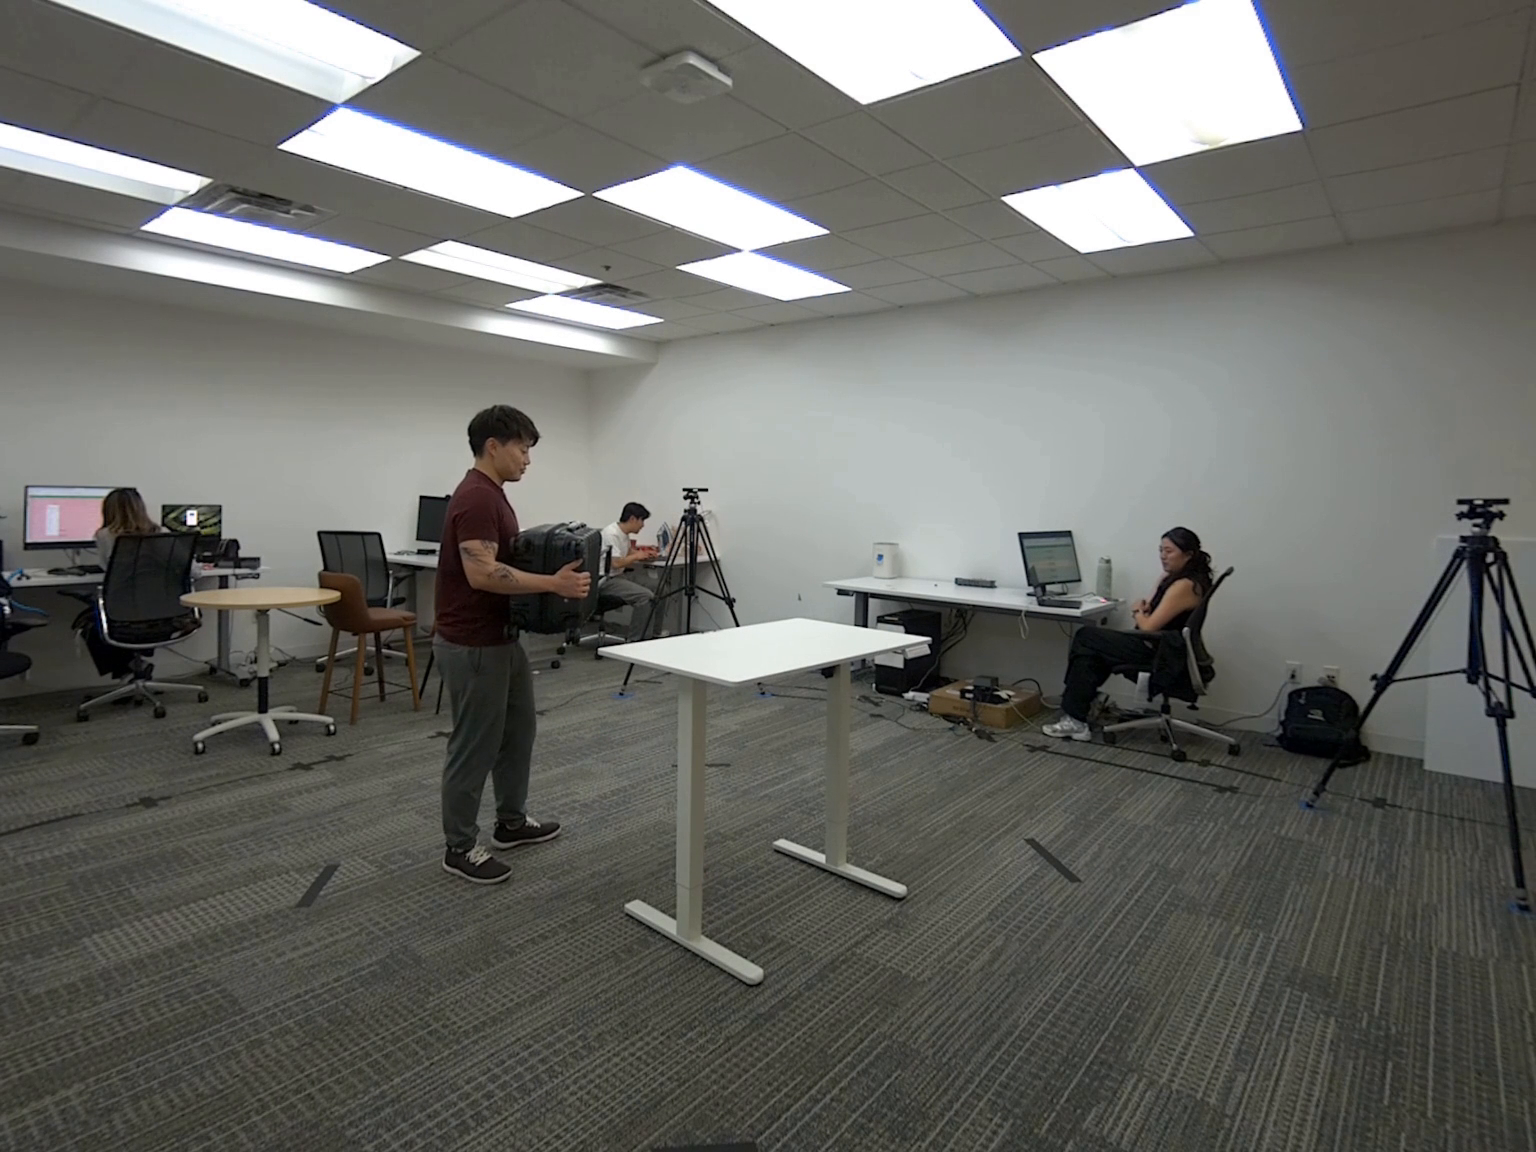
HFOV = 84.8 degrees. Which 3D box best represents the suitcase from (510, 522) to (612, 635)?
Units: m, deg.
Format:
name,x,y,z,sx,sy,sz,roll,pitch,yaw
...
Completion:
name,x,y,z,sx,sy,sz,roll,pitch,yaw
suitcase,-0.787,-0.020,3.274,0.255,0.382,0.989,1,6,-7
